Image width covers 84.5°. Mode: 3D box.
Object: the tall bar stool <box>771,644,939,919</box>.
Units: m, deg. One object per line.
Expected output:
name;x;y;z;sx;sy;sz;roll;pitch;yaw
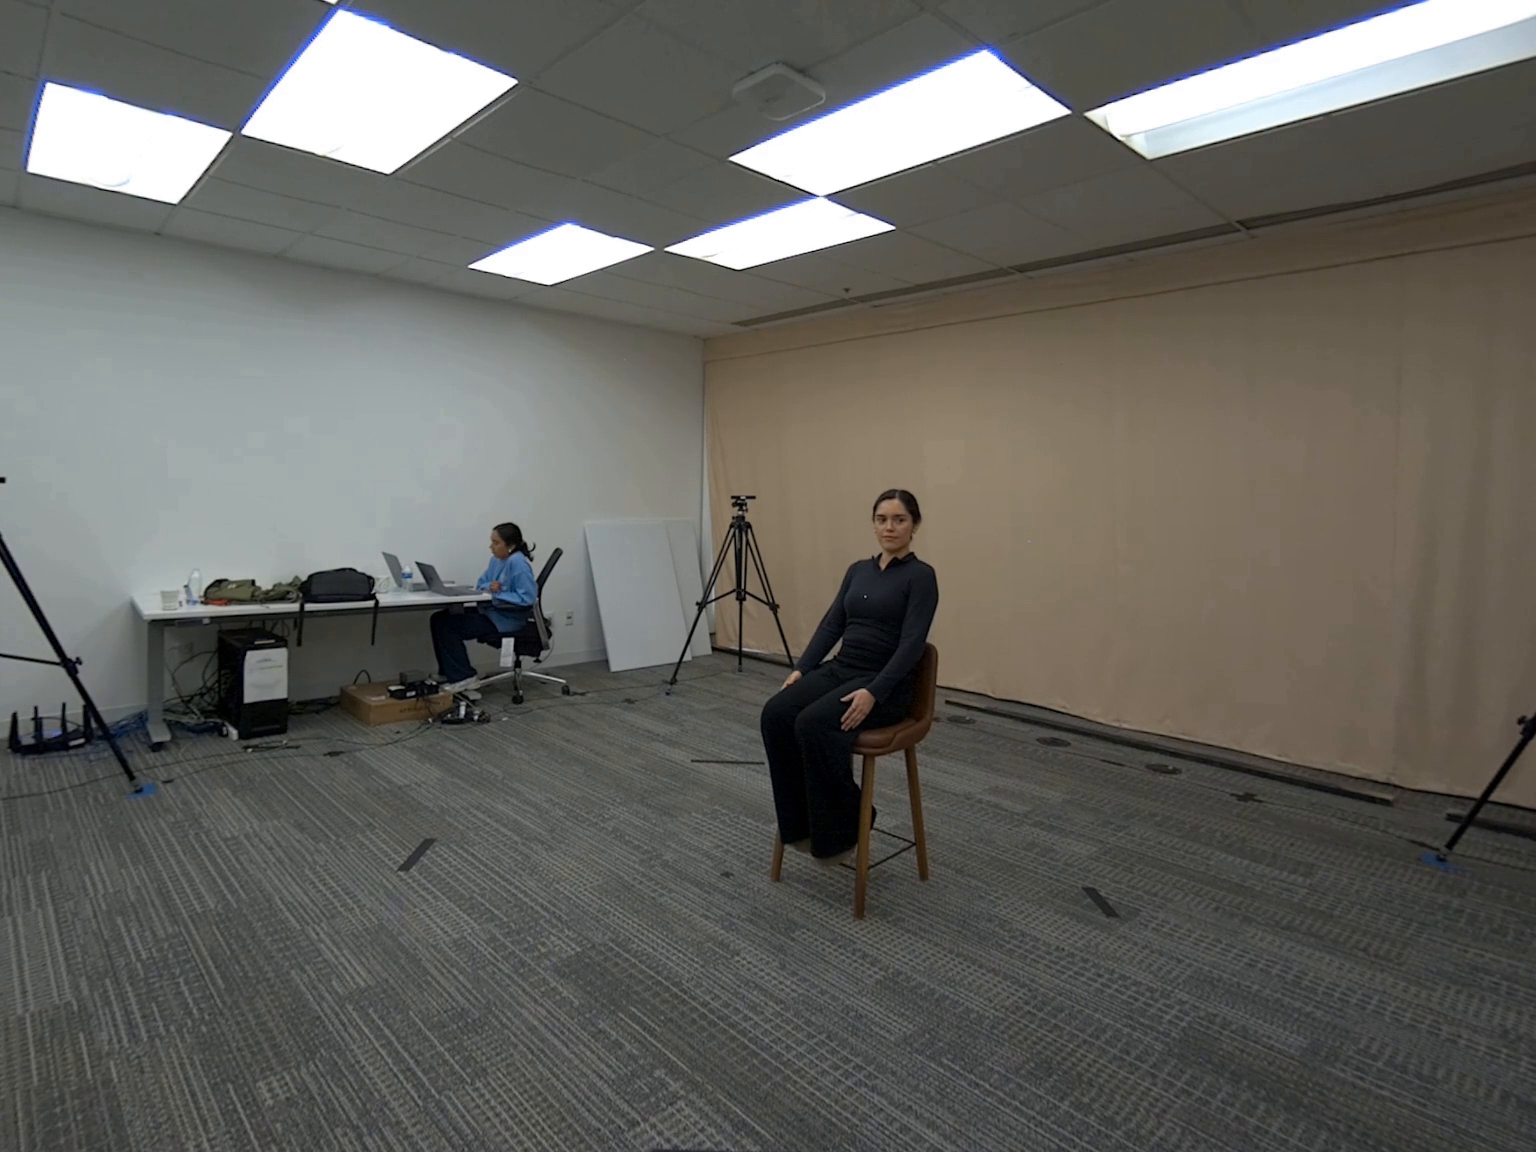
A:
tall bar stool;0.327;0.681;3.067;0.468;0.889;0.456;5;3;44
